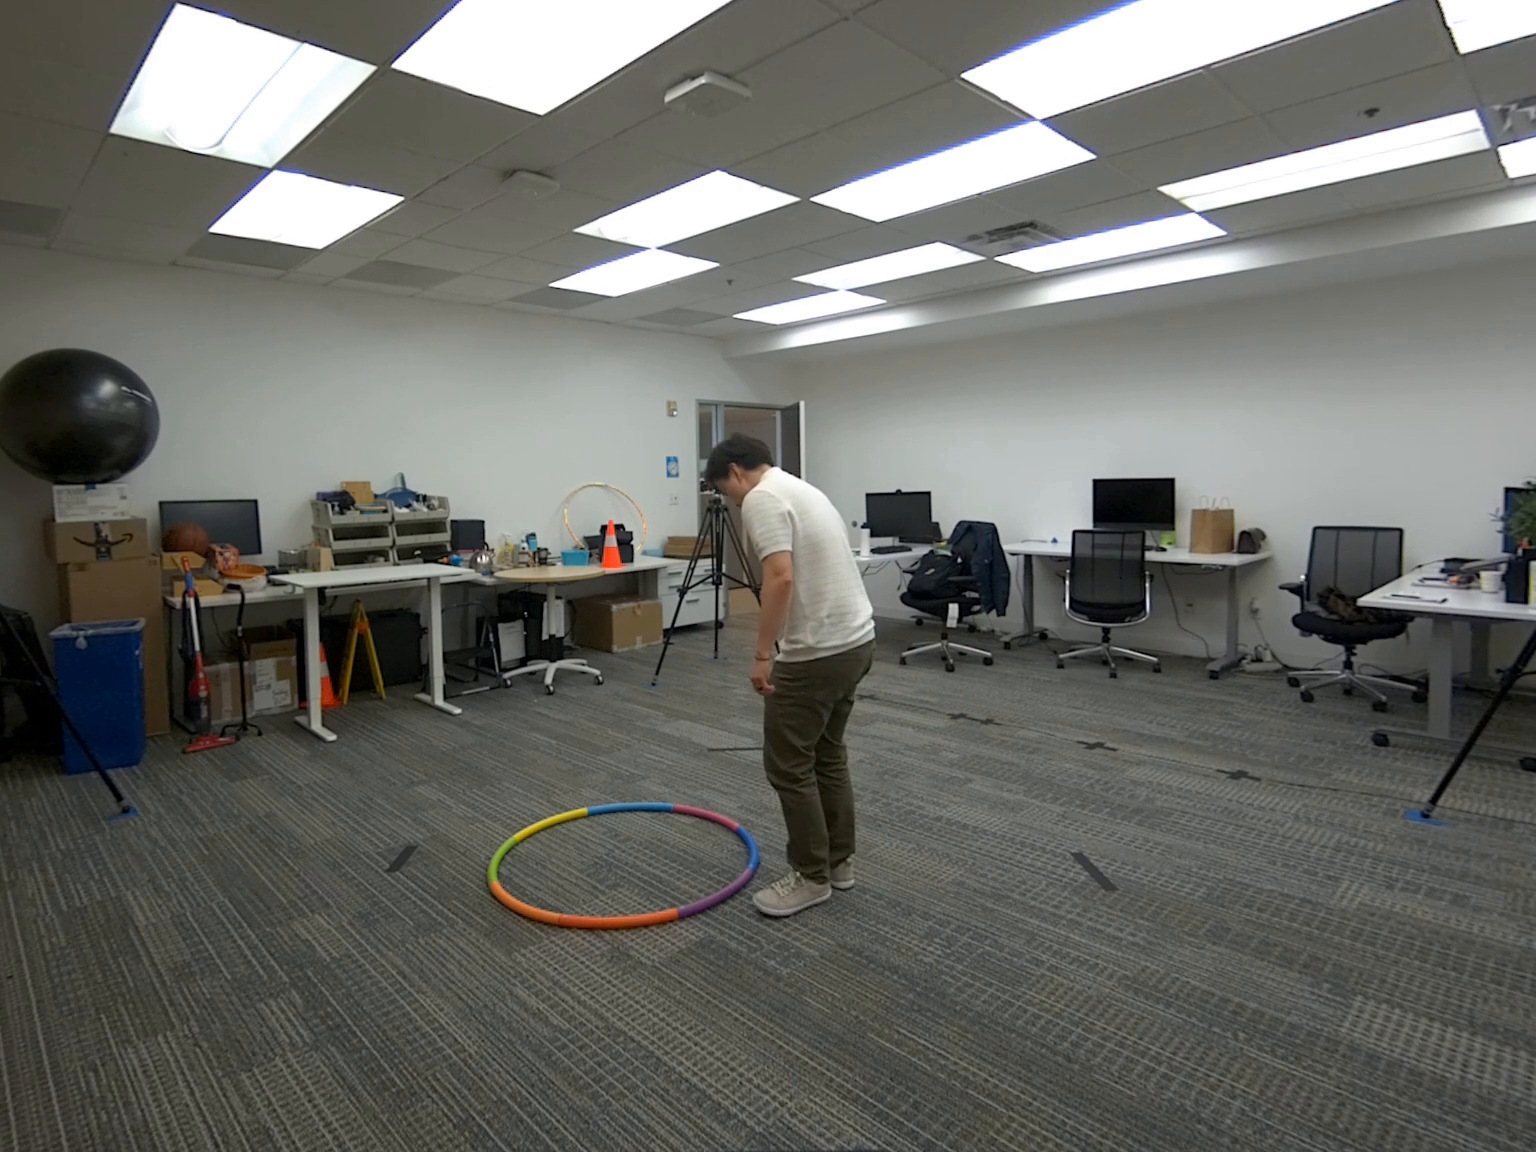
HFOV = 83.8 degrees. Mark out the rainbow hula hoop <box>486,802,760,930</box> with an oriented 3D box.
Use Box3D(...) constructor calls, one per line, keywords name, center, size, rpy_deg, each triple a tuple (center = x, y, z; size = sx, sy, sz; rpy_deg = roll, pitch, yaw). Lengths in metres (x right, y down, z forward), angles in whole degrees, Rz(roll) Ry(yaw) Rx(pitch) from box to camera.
Box3D(name="rainbow hula hoop", center=(-0.518, 1.016, 3.148), size=(0.978, 0.035, 0.984), rpy_deg=(-1, 6, -2))
